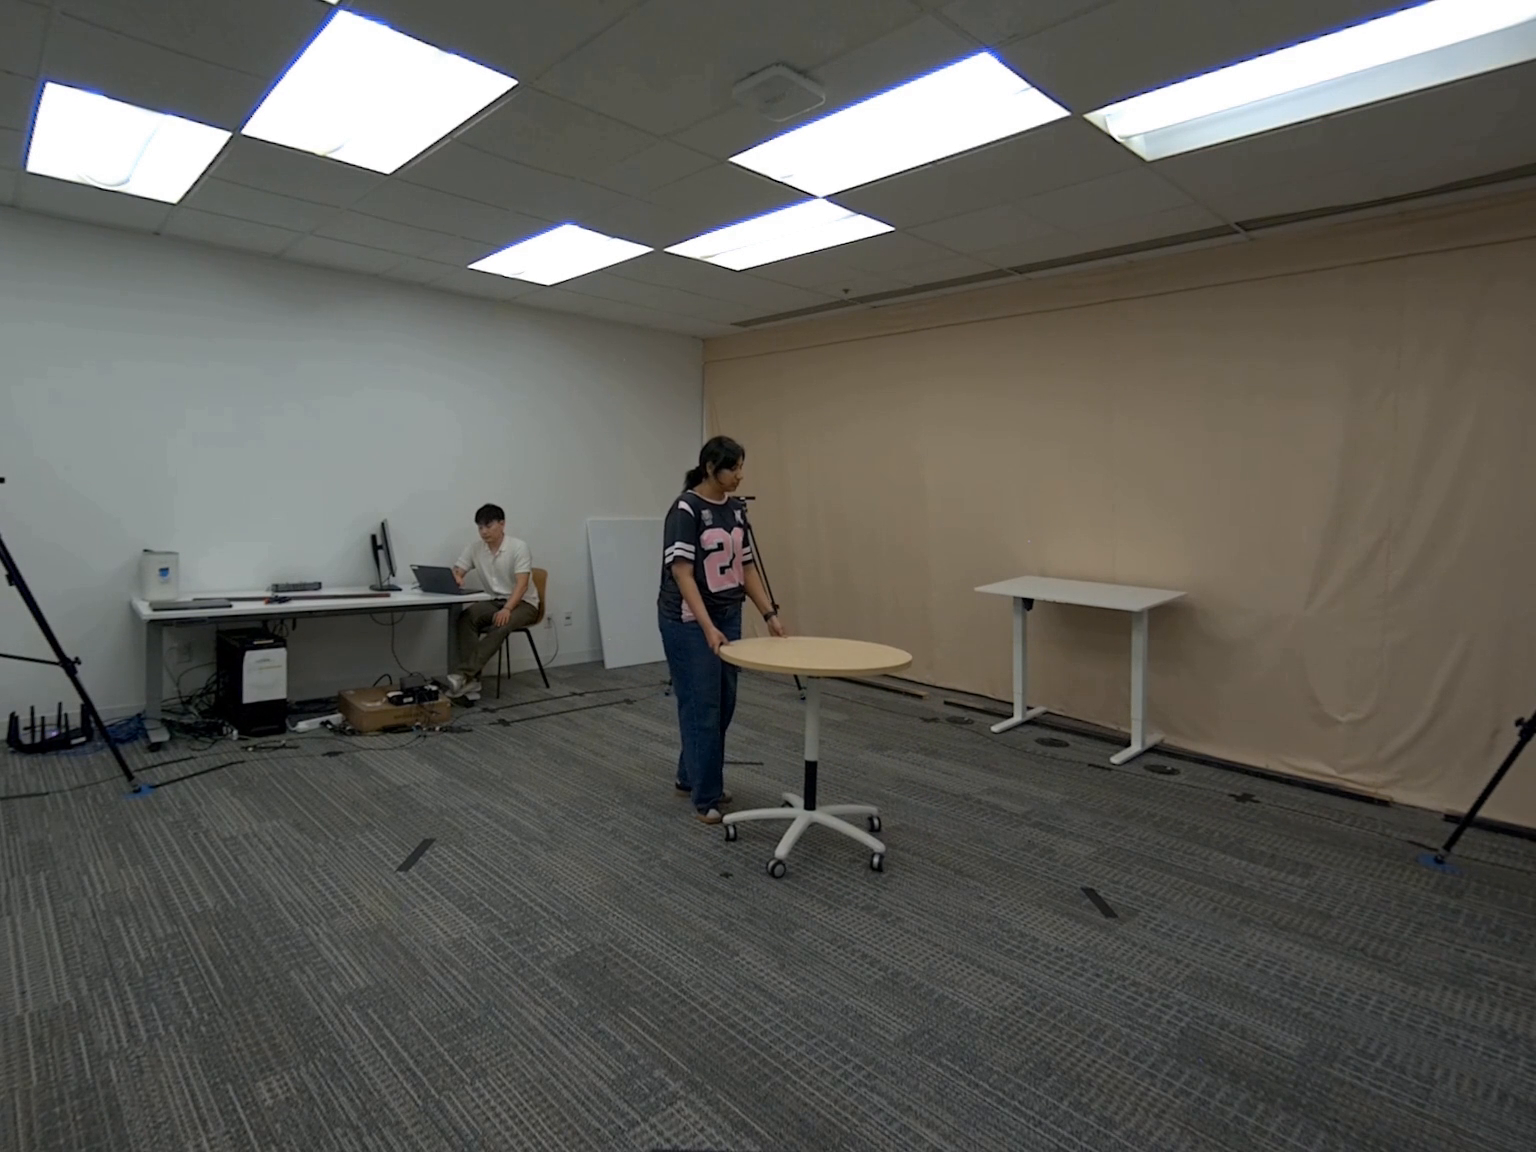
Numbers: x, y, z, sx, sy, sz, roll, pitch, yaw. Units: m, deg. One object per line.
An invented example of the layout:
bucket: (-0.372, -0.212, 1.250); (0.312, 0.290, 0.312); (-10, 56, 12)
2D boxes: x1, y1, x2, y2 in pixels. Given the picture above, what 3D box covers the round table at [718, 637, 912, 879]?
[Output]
round table: (0.163, 0.695, 3.392); (0.763, 0.792, 0.766); (2, 3, -1)
